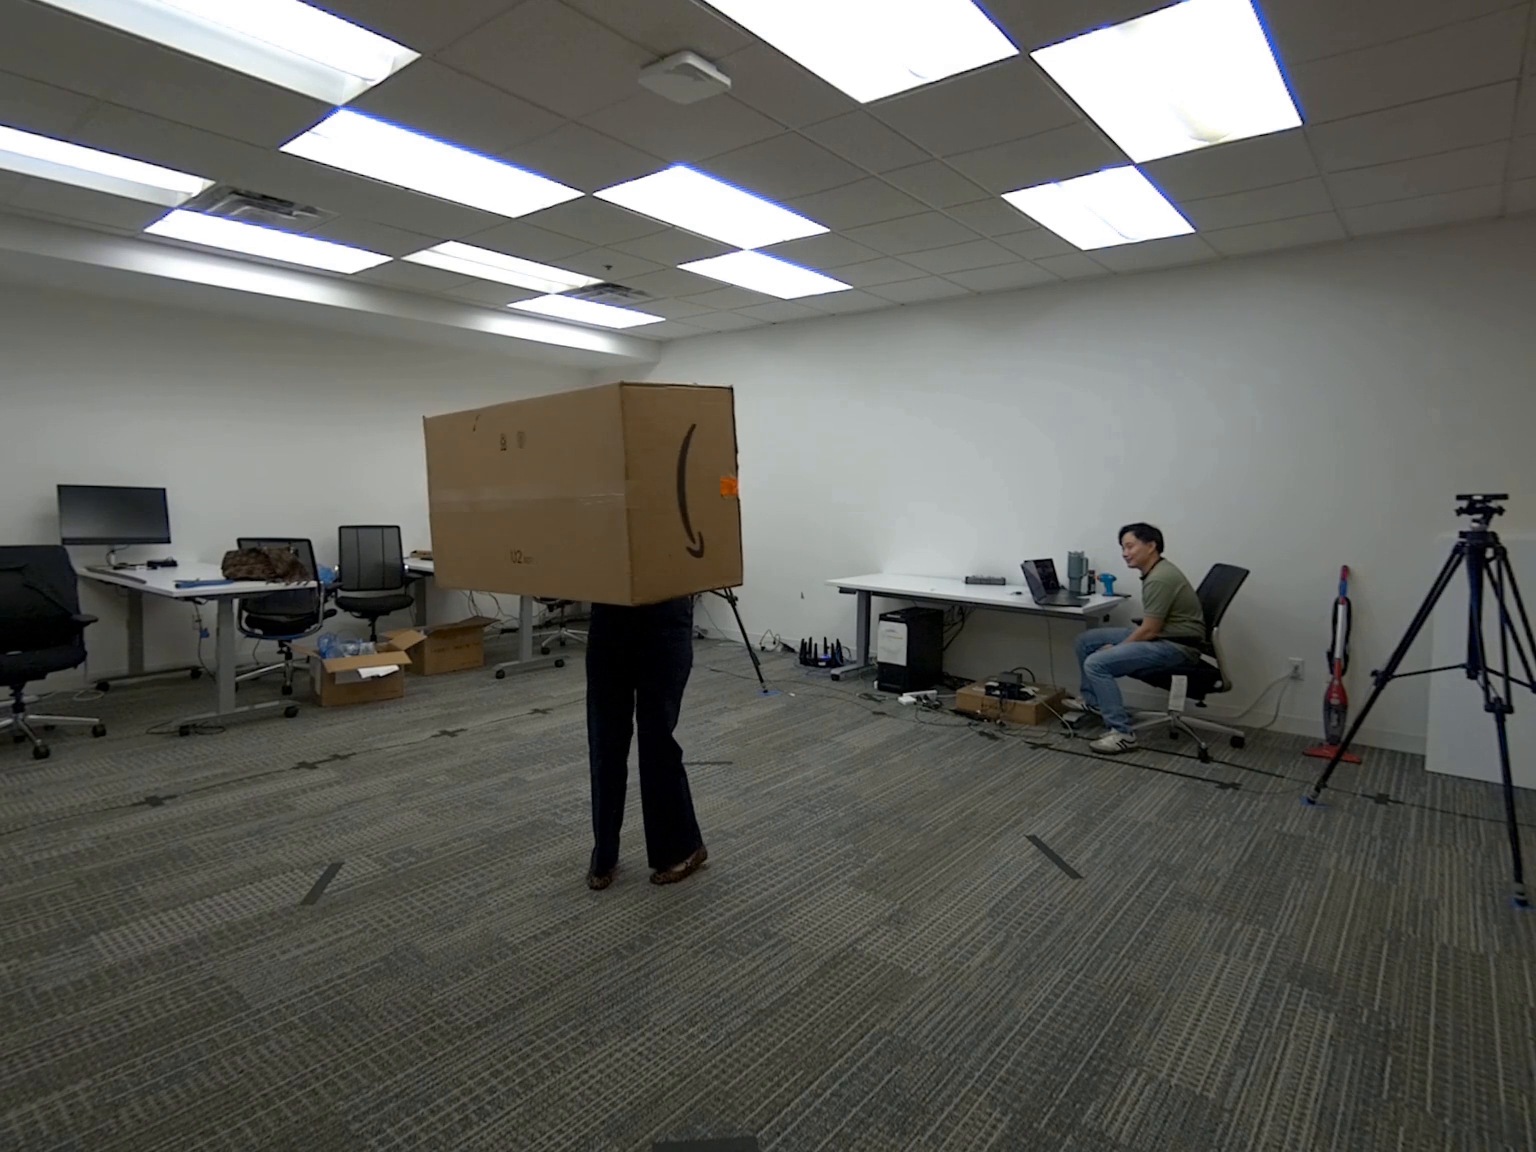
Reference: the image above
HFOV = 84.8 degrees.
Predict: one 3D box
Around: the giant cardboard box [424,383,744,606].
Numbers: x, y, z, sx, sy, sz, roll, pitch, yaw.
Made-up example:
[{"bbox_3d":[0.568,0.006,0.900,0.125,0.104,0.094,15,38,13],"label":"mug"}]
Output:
[{"bbox_3d":[-0.607,-0.255,2.651,1.059,0.575,0.414,2,6,42],"label":"giant cardboard box"}]
